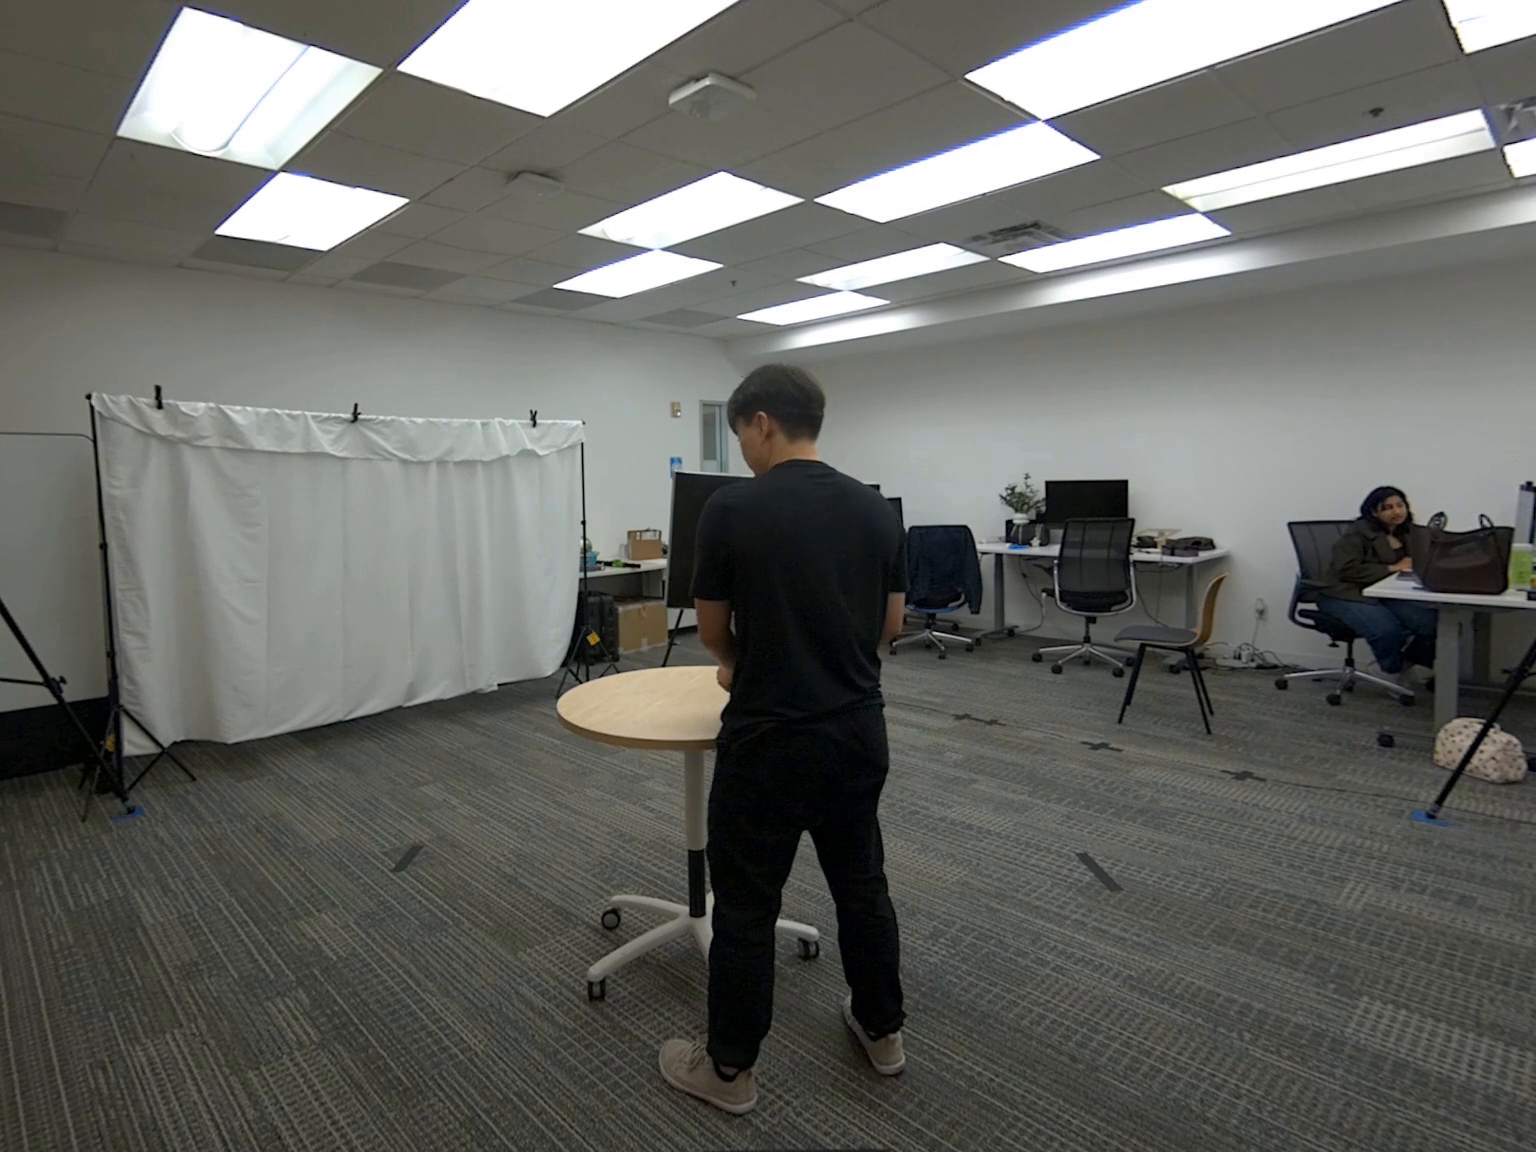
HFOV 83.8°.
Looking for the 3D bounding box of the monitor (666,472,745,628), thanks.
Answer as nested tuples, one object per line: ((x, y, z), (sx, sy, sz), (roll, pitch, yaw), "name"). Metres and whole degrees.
((0.030, 0.010, 2.228), (0.532, 0.524, 0.189), (2, -3, -13), "monitor")
